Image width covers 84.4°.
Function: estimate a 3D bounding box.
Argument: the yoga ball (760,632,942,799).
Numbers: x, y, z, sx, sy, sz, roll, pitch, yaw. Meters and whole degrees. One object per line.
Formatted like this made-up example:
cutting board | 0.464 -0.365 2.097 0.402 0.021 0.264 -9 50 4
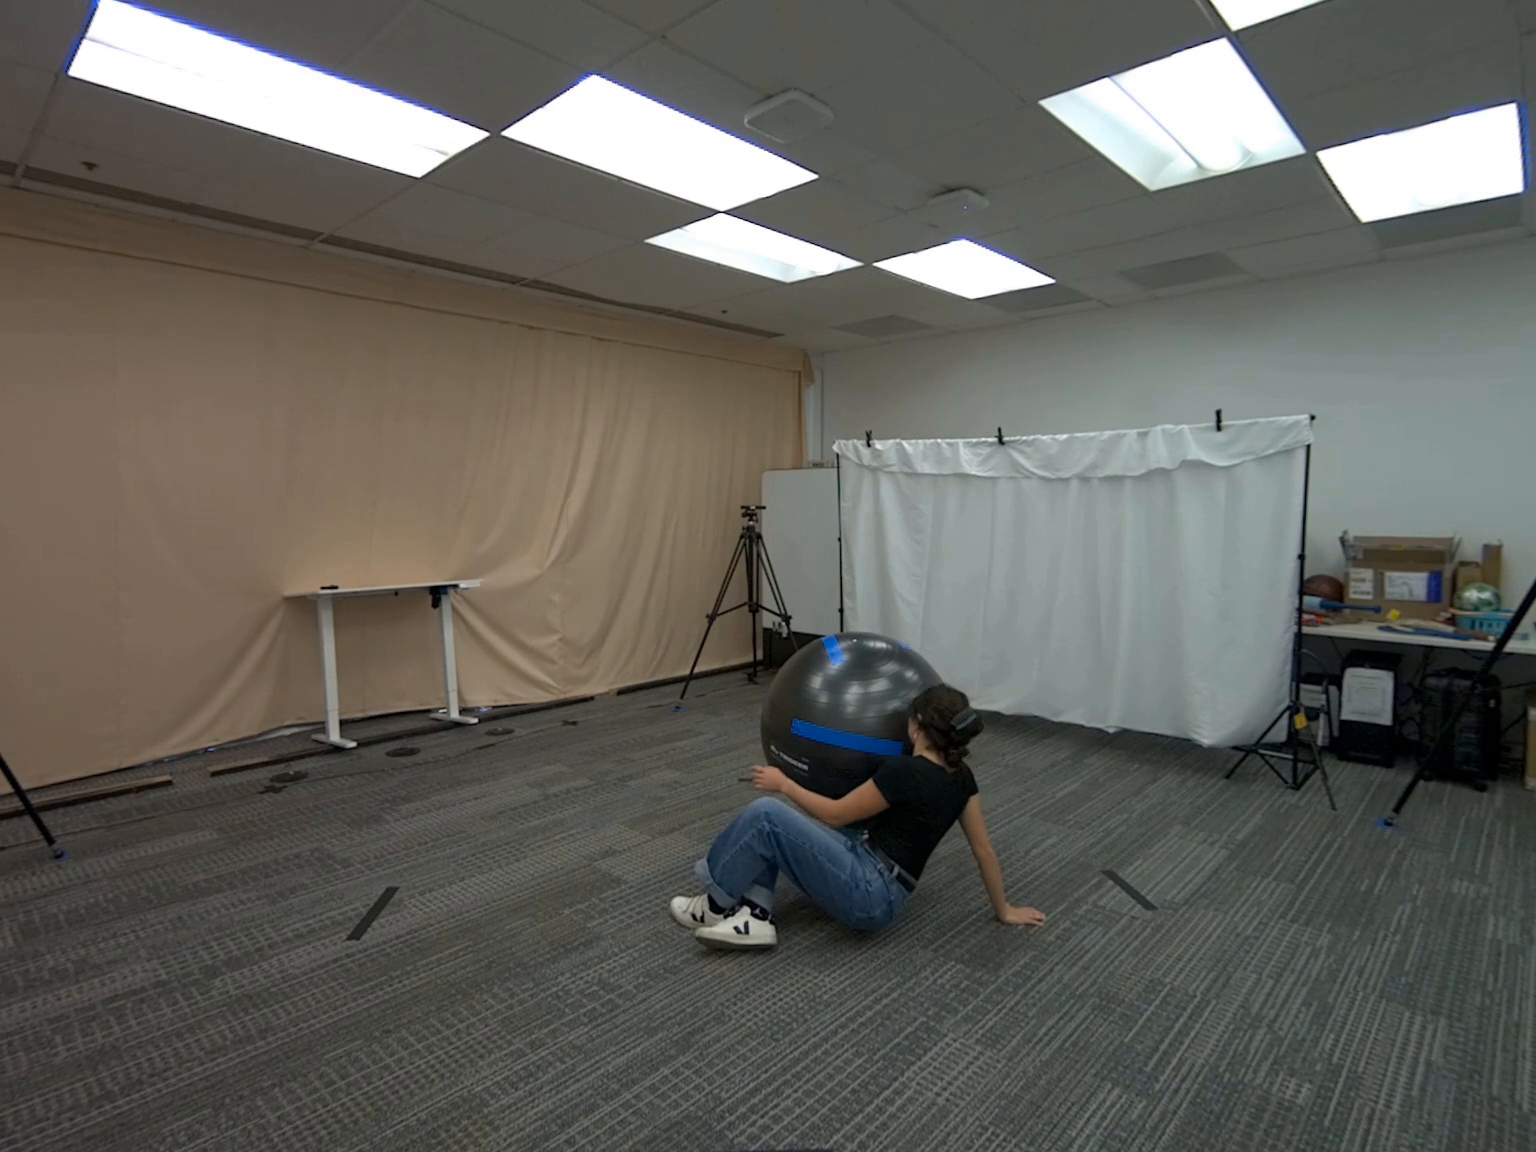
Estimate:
yoga ball | 0.364 0.605 3.324 0.757 0.756 0.761 0 4 -2
